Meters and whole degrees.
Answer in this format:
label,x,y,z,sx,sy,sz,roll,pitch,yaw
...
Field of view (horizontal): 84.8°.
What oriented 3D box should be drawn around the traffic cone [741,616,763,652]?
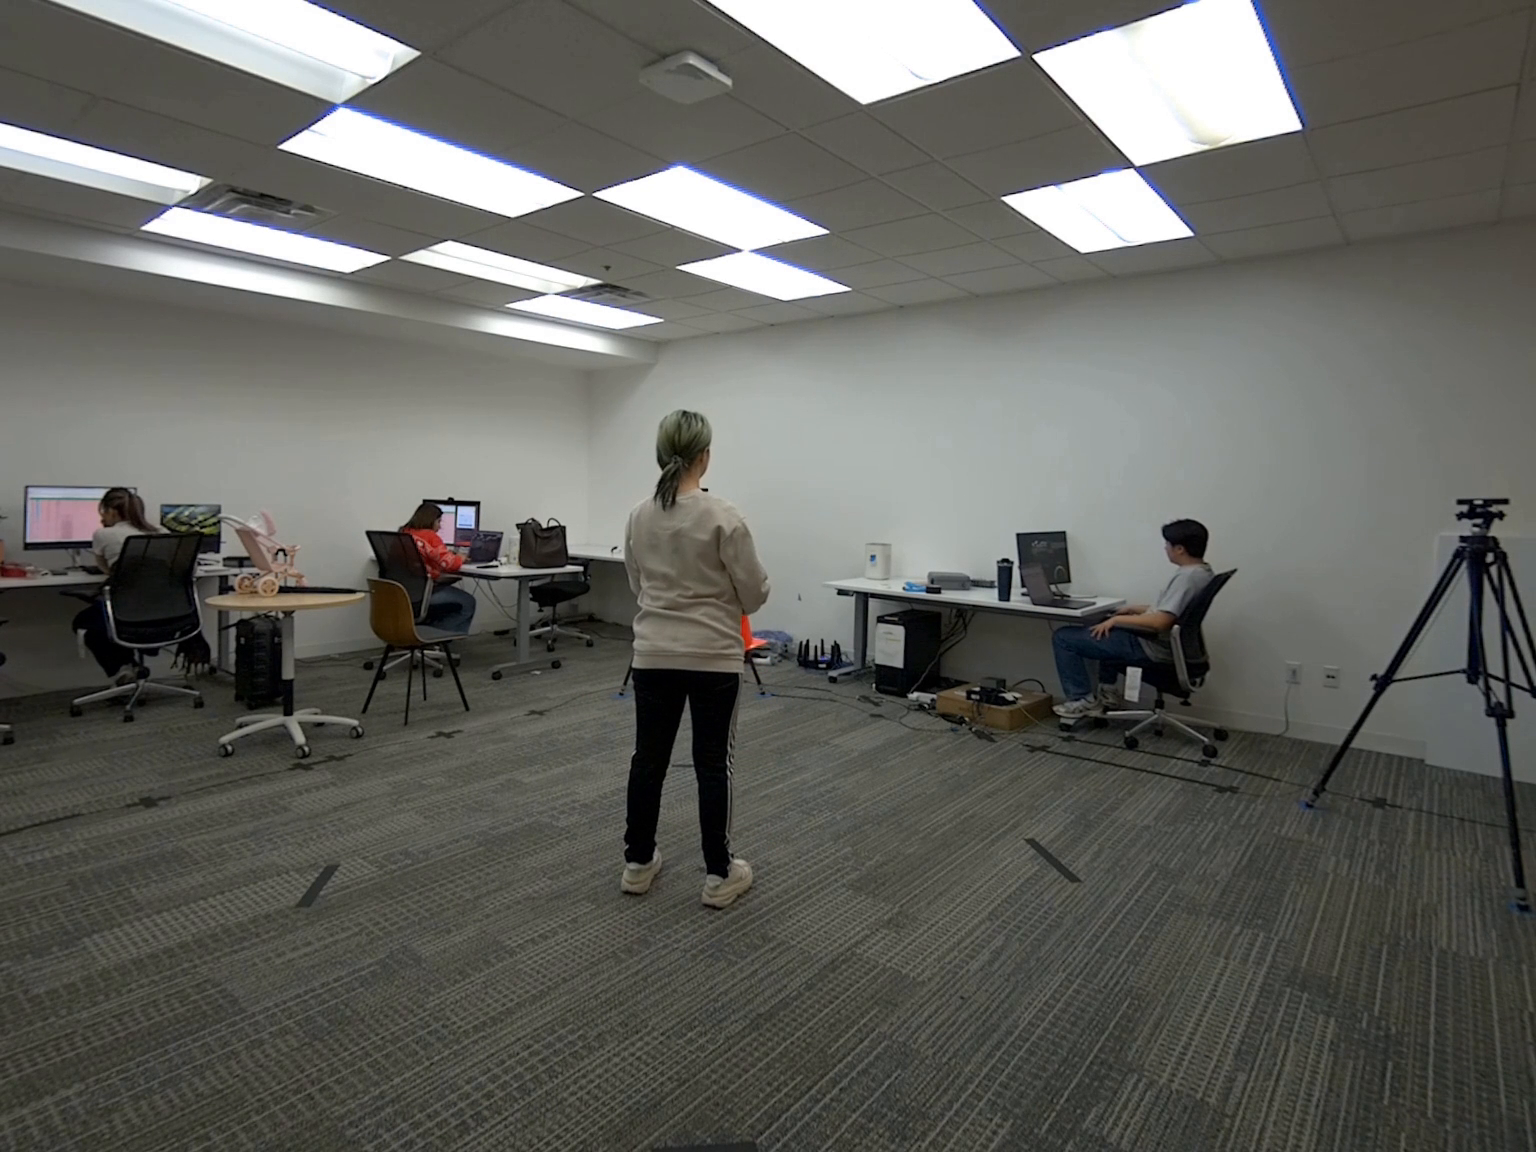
label,x,y,z,sx,sy,sz,roll,pitch,yaw
traffic cone,-0.151,0.071,3.196,0.212,0.380,0.198,9,14,39
